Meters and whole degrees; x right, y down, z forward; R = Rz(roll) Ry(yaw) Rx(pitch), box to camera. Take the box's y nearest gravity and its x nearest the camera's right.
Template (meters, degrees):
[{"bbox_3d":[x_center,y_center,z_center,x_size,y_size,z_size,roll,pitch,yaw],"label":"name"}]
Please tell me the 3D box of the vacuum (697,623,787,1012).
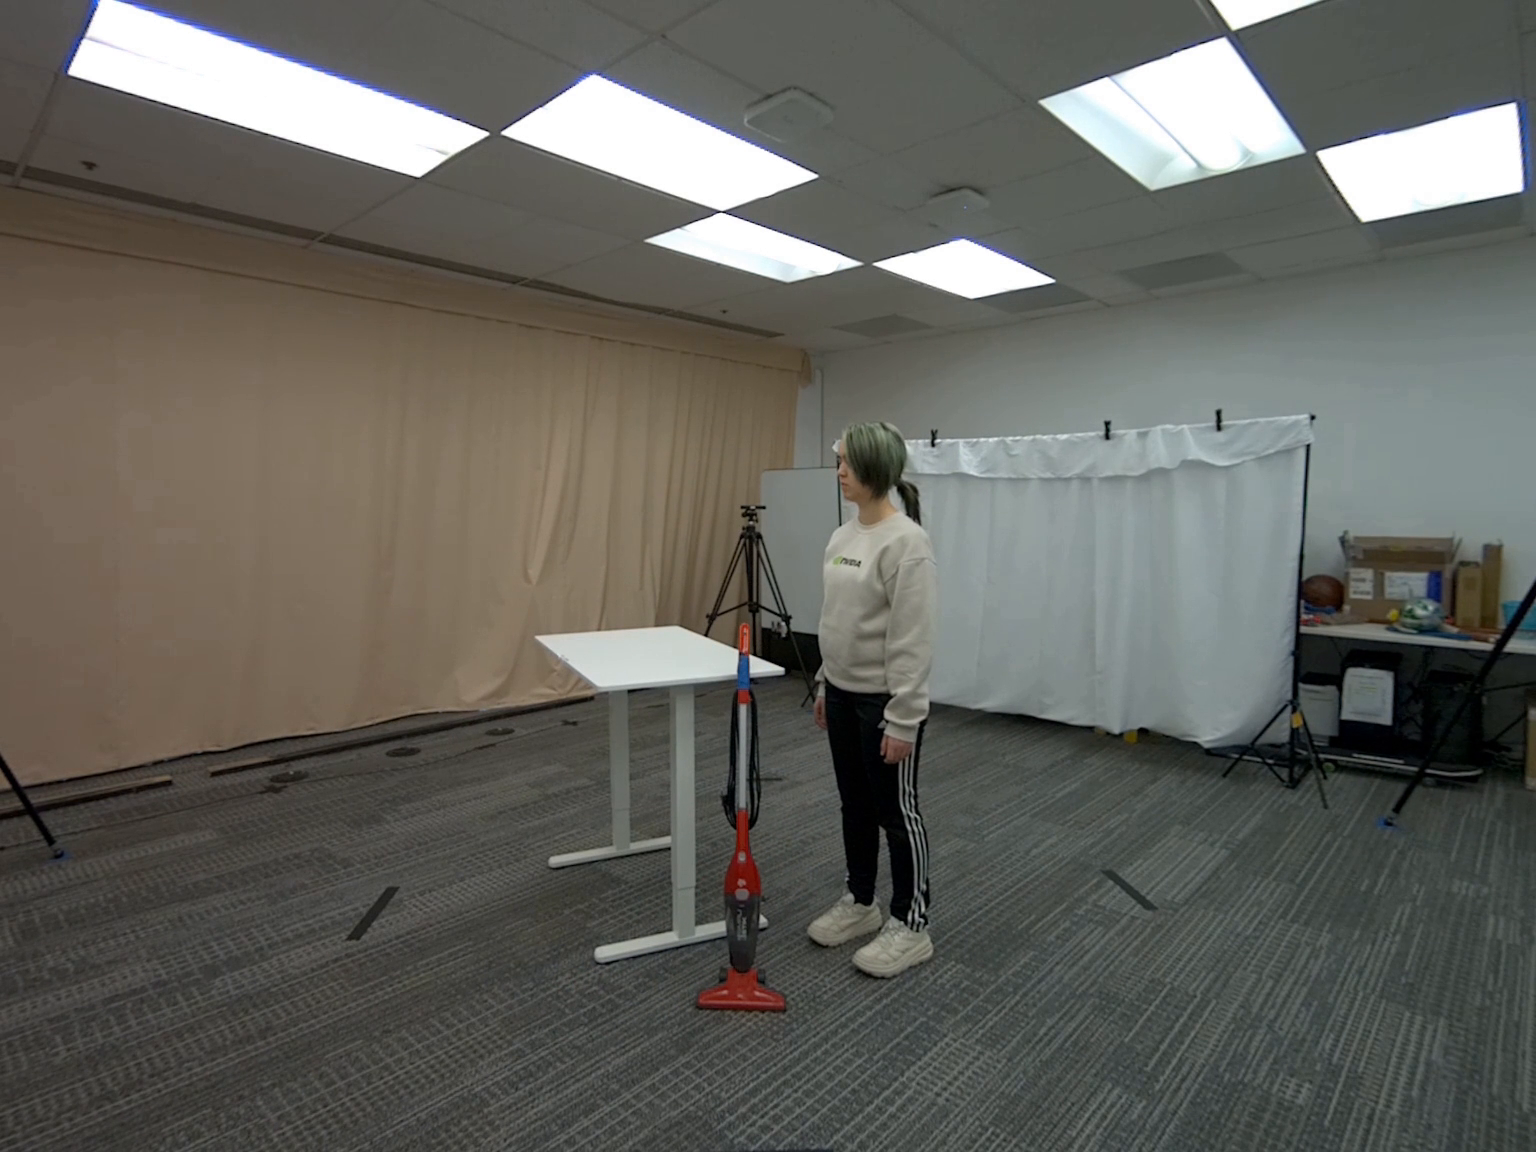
[{"bbox_3d":[-0.065,0.685,2.488,0.253,1.056,0.142,1,-11,2],"label":"vacuum"}]
